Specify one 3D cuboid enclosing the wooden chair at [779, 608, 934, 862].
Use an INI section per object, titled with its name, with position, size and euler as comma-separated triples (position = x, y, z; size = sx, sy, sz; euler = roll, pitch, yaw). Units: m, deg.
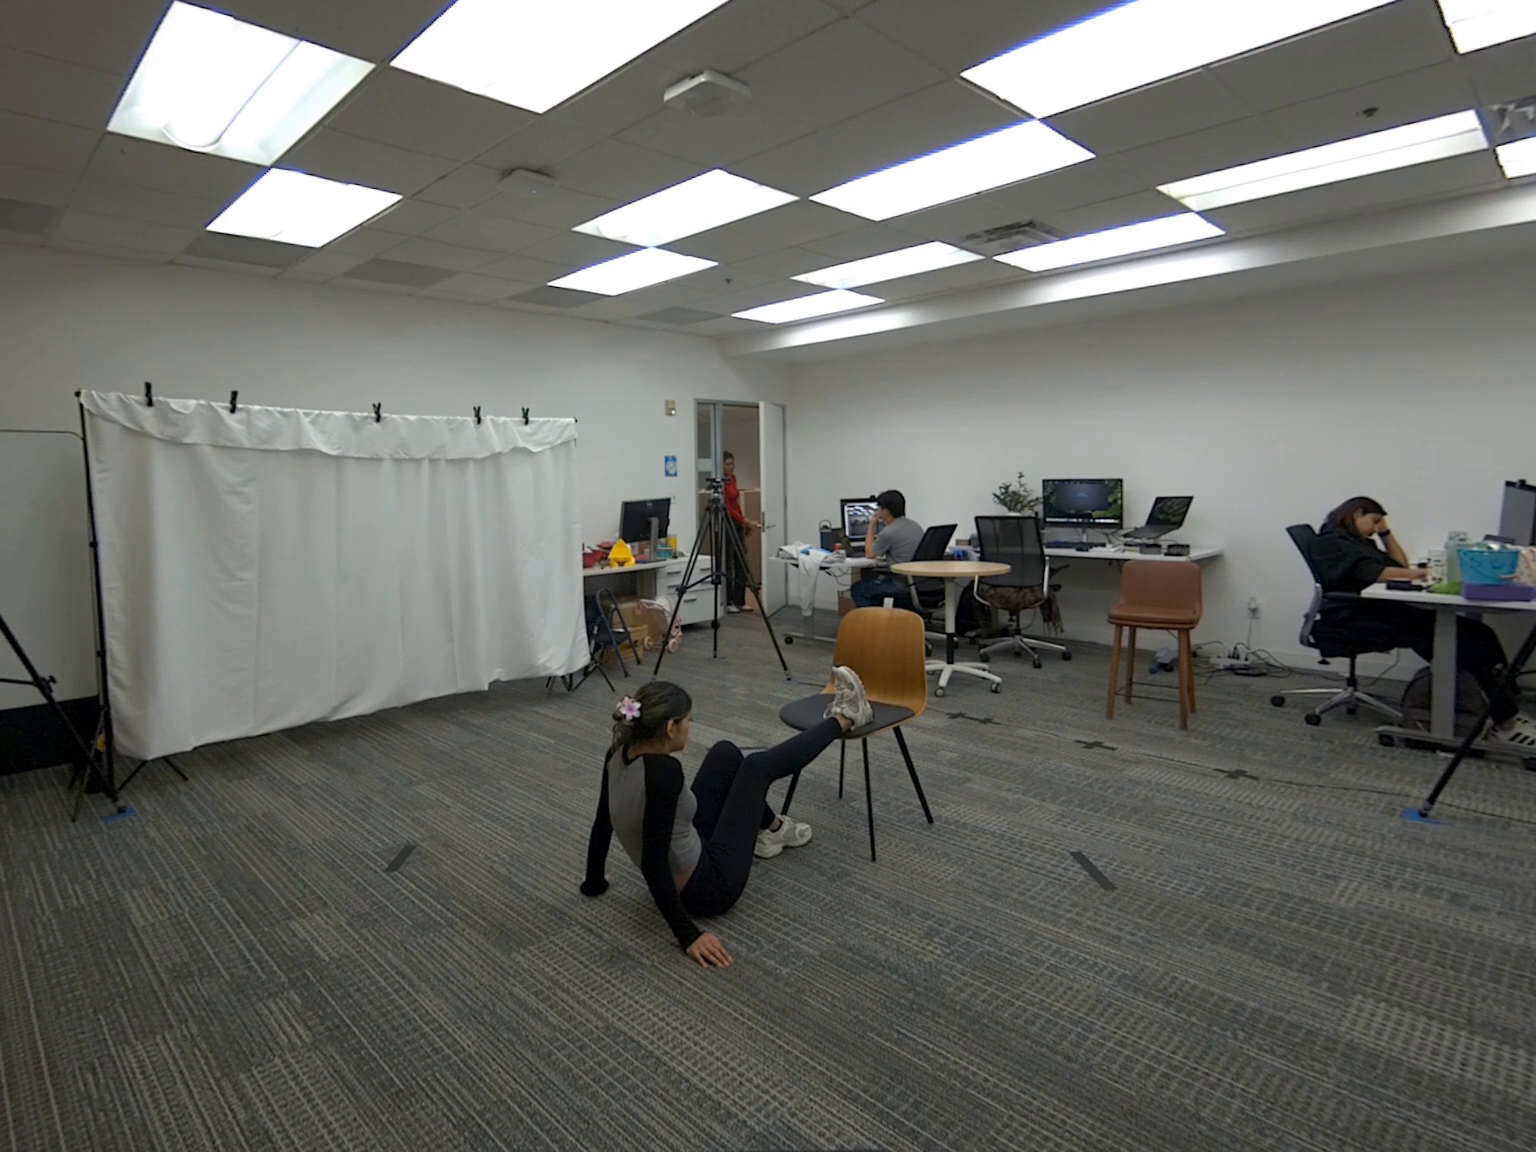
[wooden chair]
position = 0.341, 0.577, 3.376
size = 0.492, 0.877, 0.508
euler = 3, 1, 40
